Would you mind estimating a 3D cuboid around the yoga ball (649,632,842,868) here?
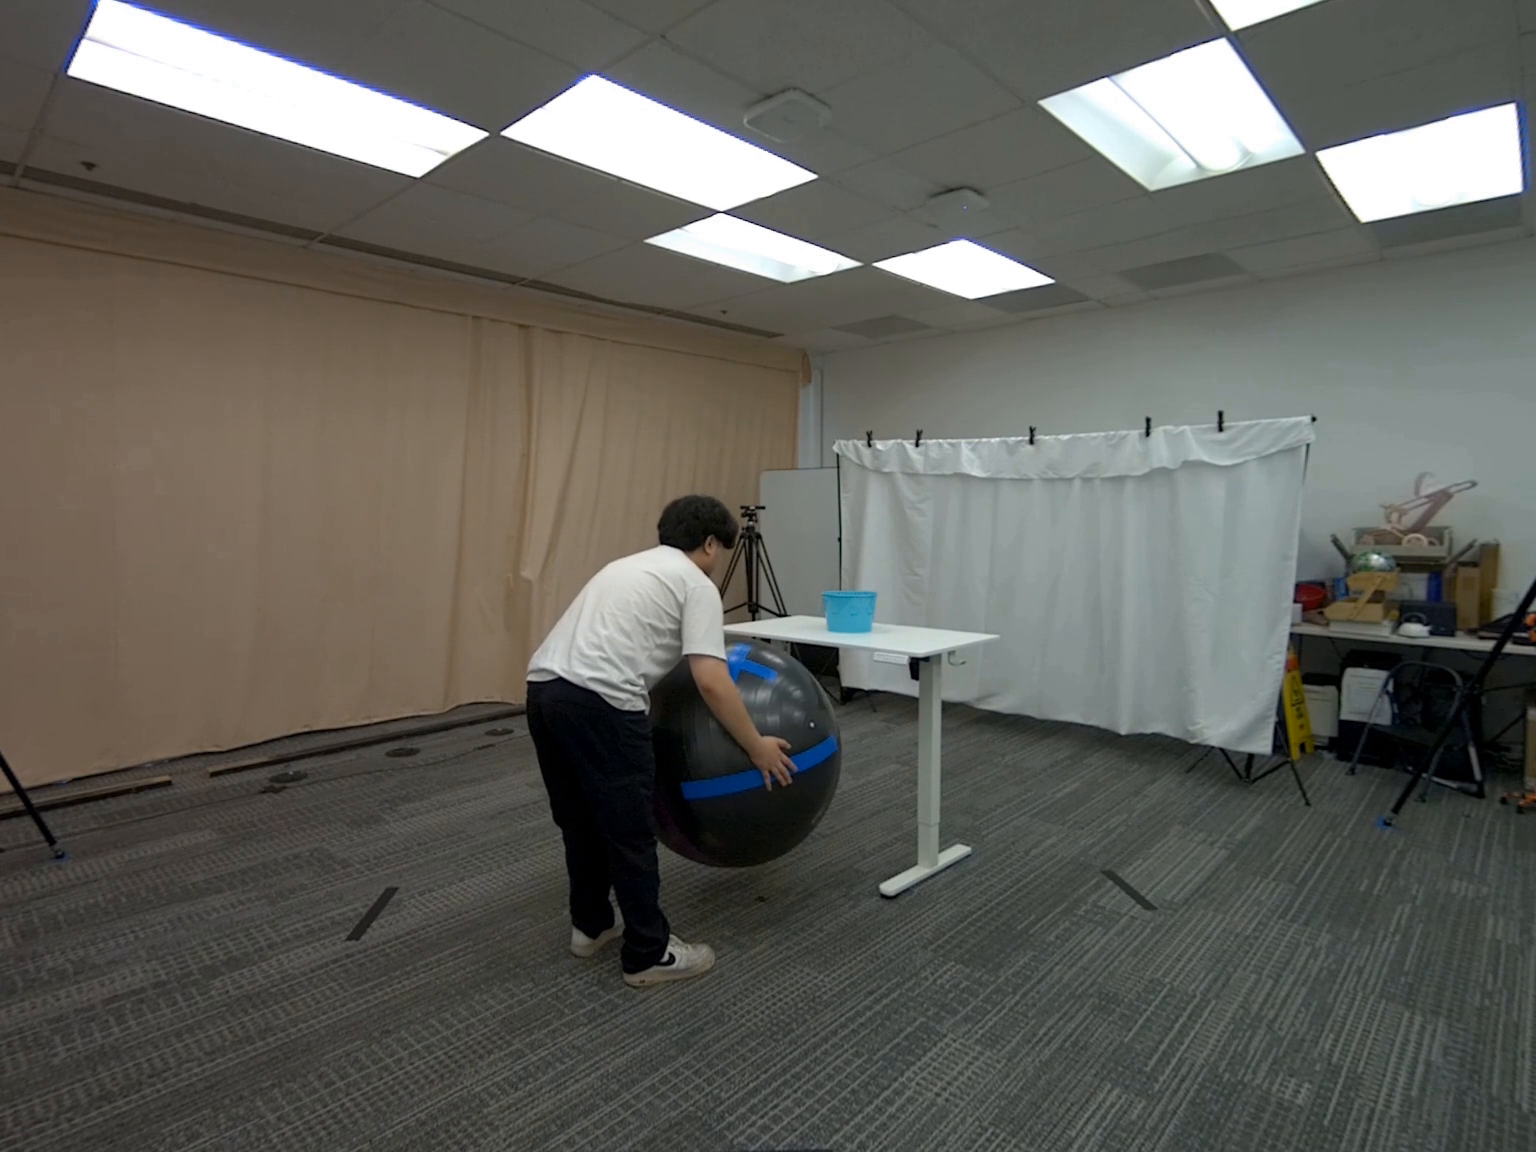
[{"bbox_3d":[-0.128,0.597,2.874,0.757,0.756,0.760,0,4,-2],"label":"yoga ball"}]
